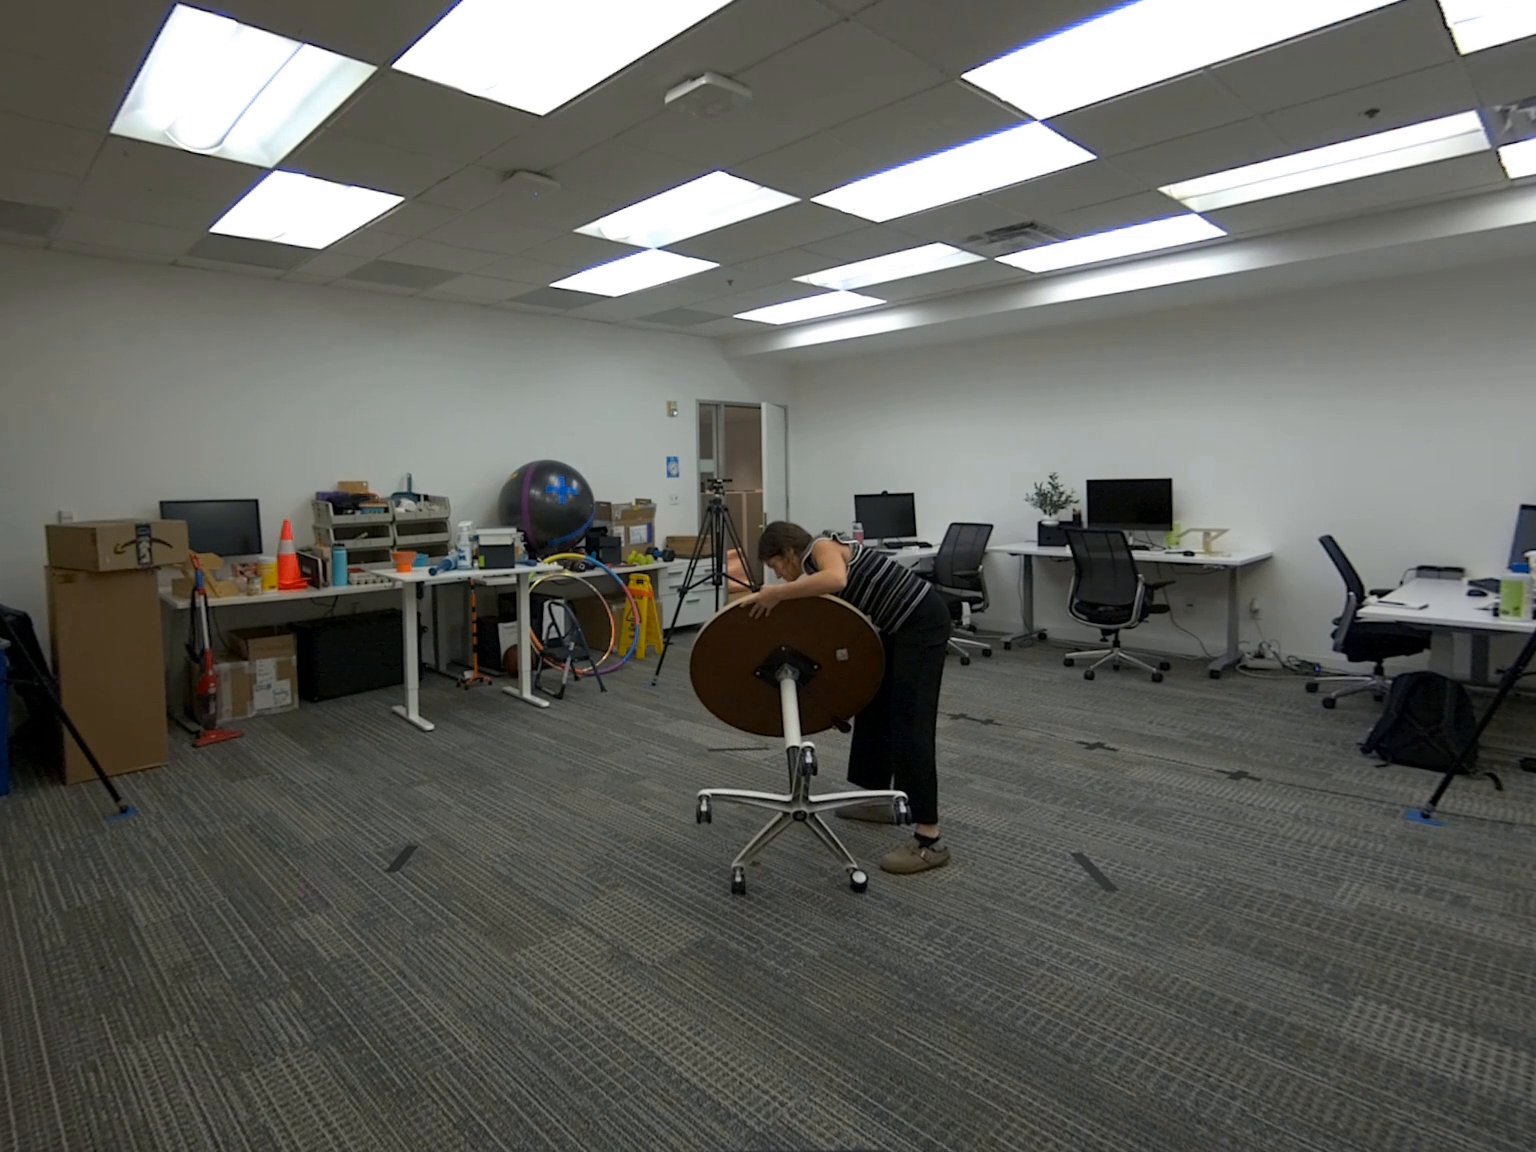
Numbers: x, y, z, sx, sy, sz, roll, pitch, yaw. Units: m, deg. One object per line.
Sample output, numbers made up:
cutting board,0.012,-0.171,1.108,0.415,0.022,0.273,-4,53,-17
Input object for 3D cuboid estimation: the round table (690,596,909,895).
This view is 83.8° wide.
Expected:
round table,0.097,0.589,3.031,0.785,0.765,0.807,-1,36,-1
